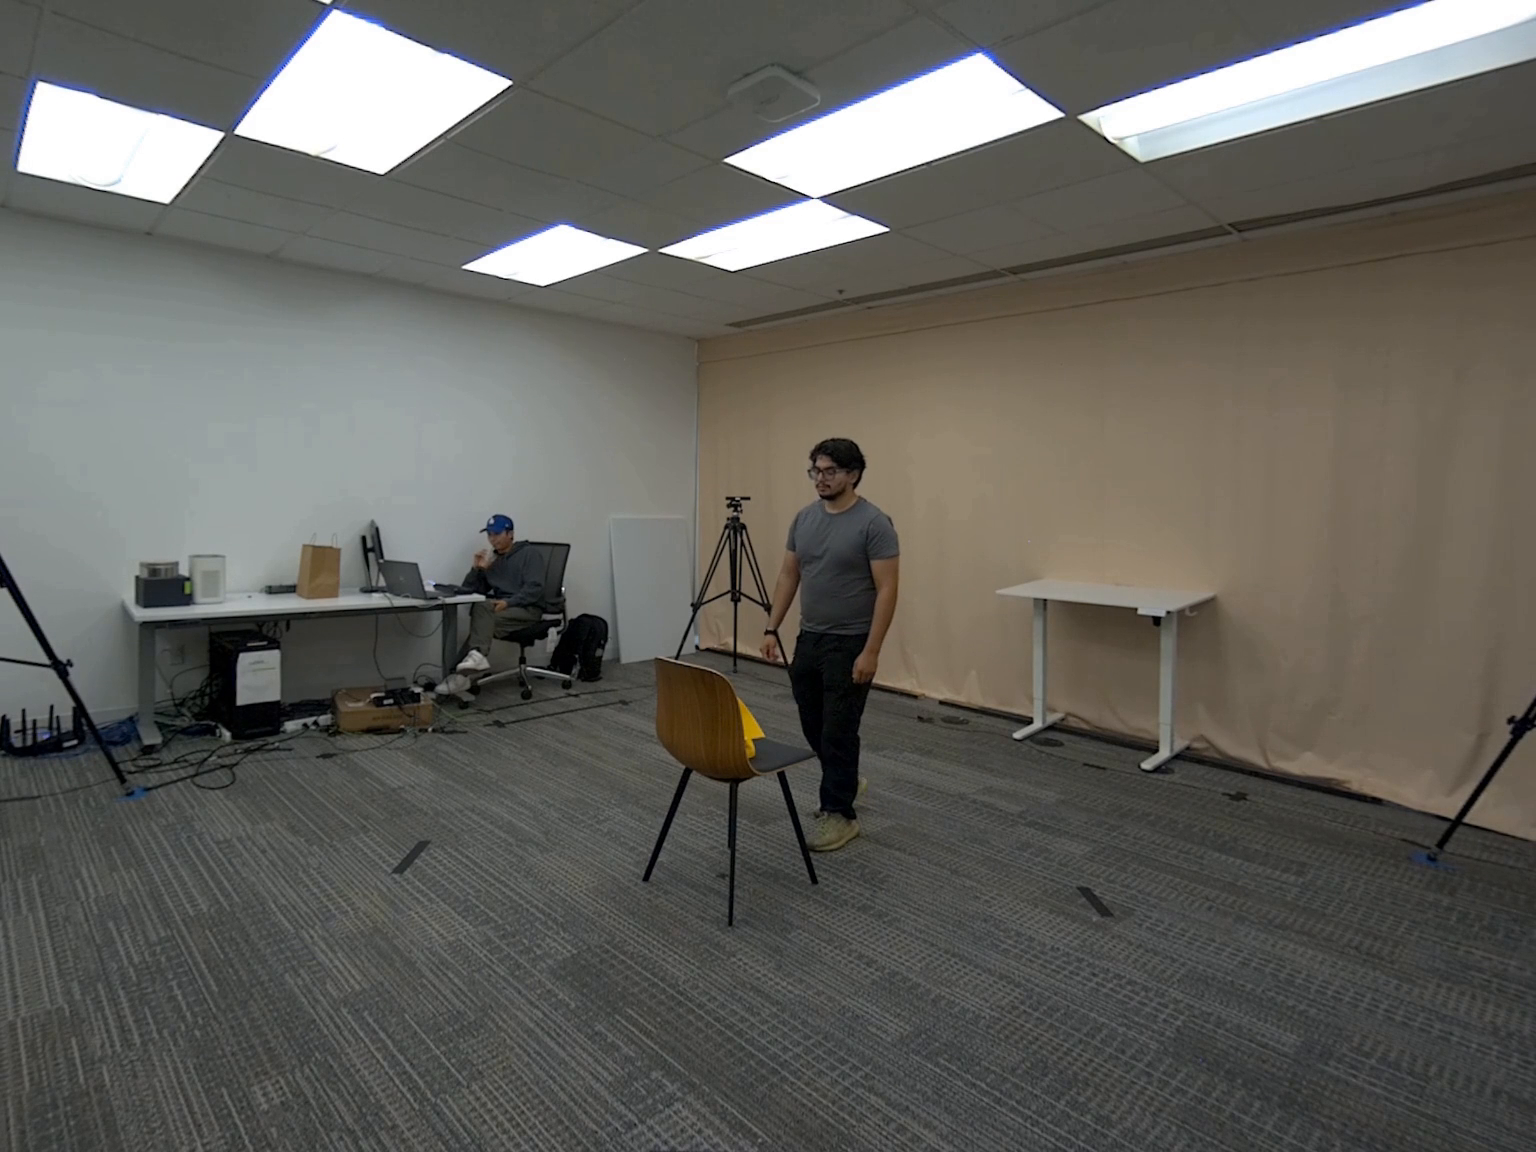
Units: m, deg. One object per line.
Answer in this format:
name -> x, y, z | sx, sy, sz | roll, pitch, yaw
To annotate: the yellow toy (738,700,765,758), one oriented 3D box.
yellow toy -> -0.156, 0.528, 3.000 | 0.201, 0.230, 0.197 | -4, 7, -29
